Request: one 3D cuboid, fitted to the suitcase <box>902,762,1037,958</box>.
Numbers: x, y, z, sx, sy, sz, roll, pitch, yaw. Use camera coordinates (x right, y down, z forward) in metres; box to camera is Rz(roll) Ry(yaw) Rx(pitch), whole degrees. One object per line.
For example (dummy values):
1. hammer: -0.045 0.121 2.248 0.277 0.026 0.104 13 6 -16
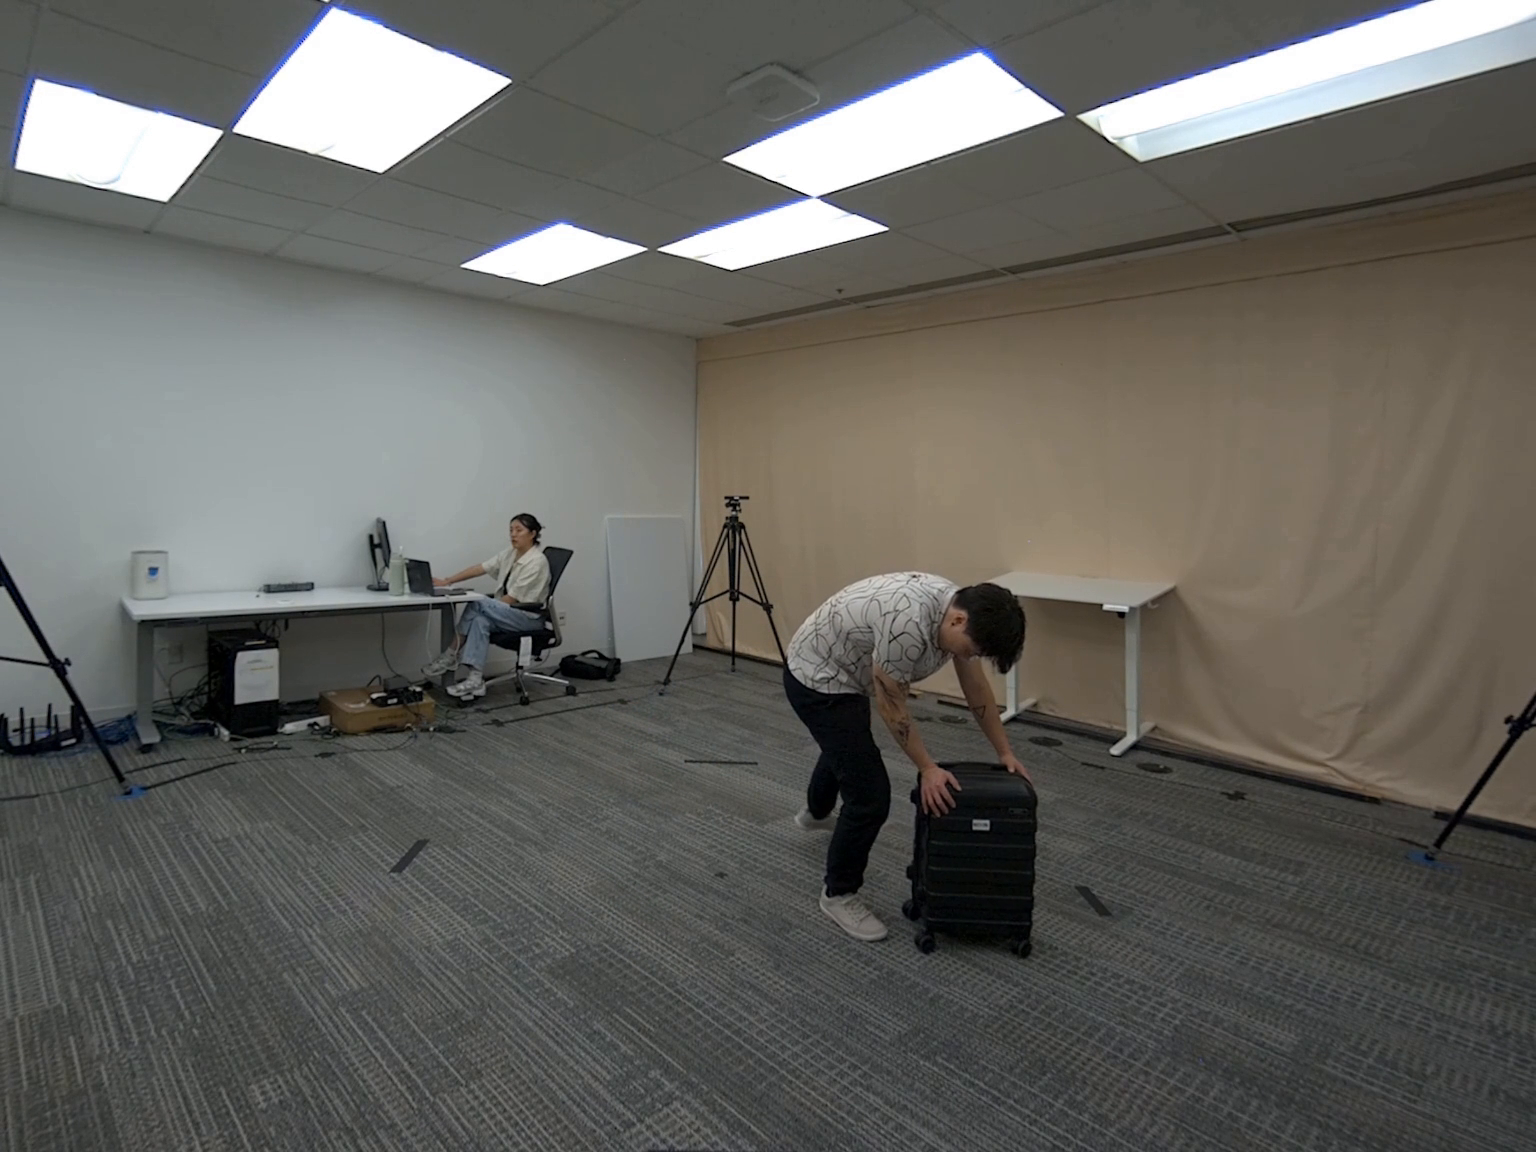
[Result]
1. suitcase: 0.662 0.892 2.699 0.375 0.548 0.249 3 4 0
